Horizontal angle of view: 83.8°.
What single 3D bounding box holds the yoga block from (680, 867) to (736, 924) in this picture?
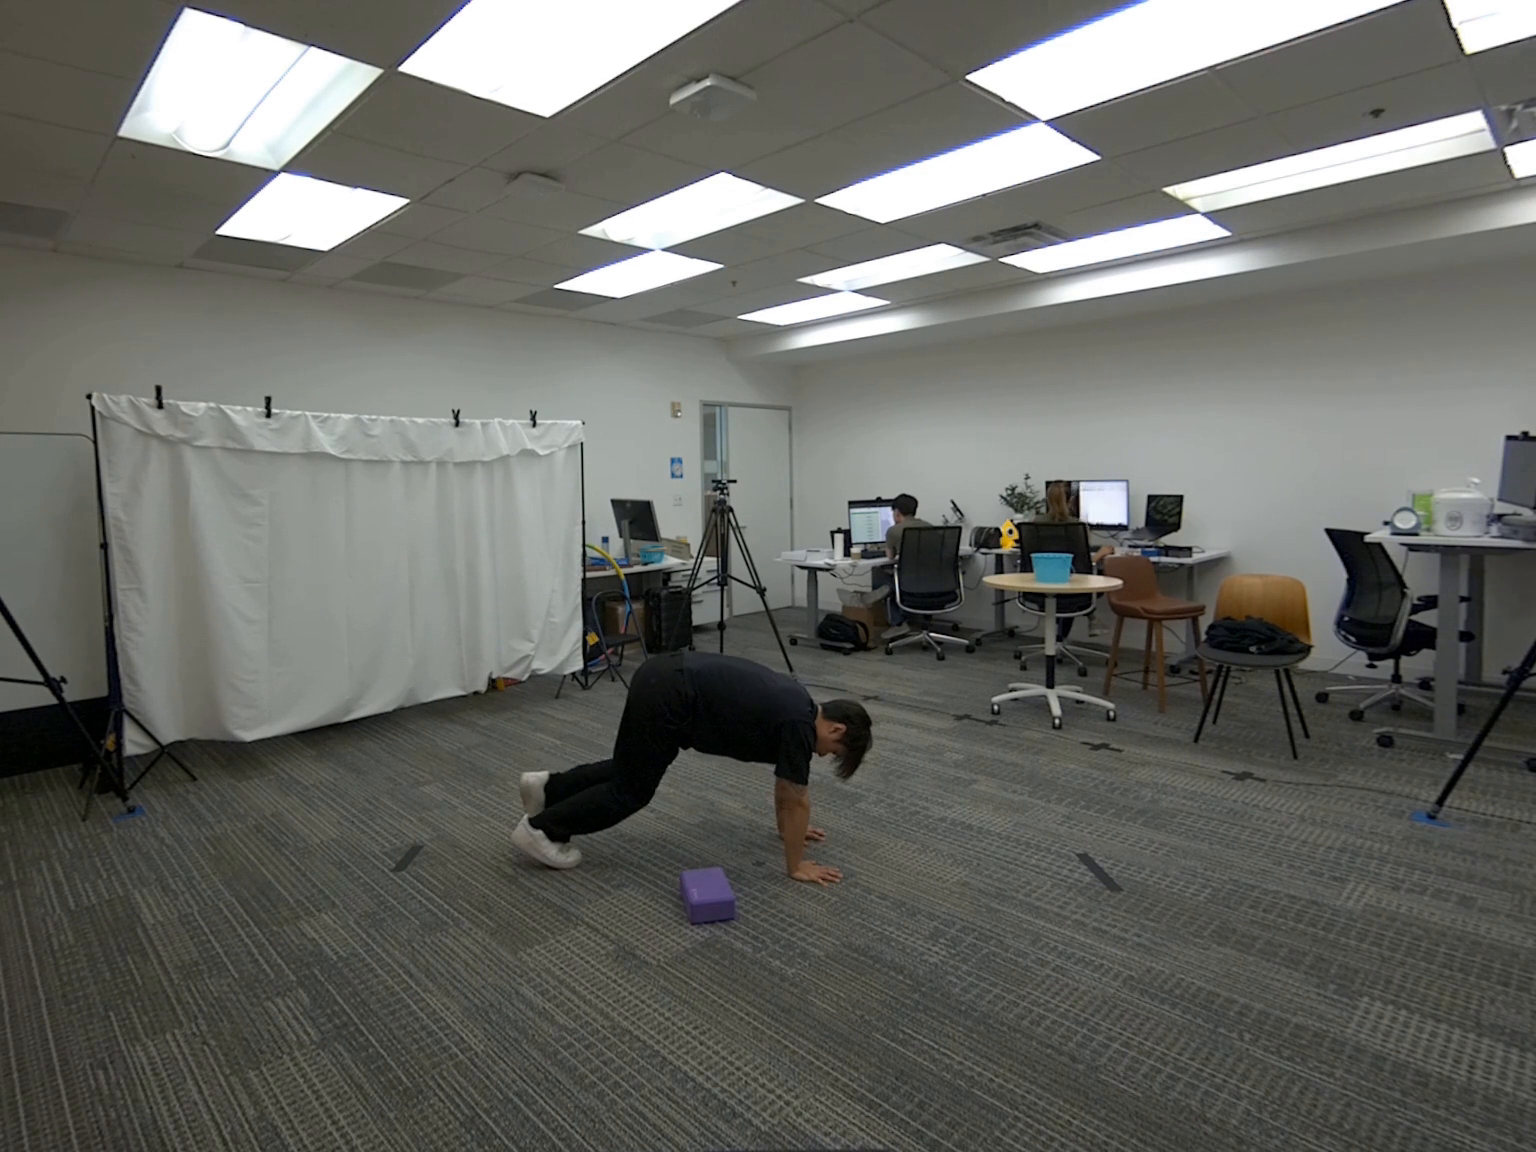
[{"bbox_3d":[-0.196,1.047,2.804,0.147,0.076,0.233,-1,6,-13],"label":"yoga block"}]
